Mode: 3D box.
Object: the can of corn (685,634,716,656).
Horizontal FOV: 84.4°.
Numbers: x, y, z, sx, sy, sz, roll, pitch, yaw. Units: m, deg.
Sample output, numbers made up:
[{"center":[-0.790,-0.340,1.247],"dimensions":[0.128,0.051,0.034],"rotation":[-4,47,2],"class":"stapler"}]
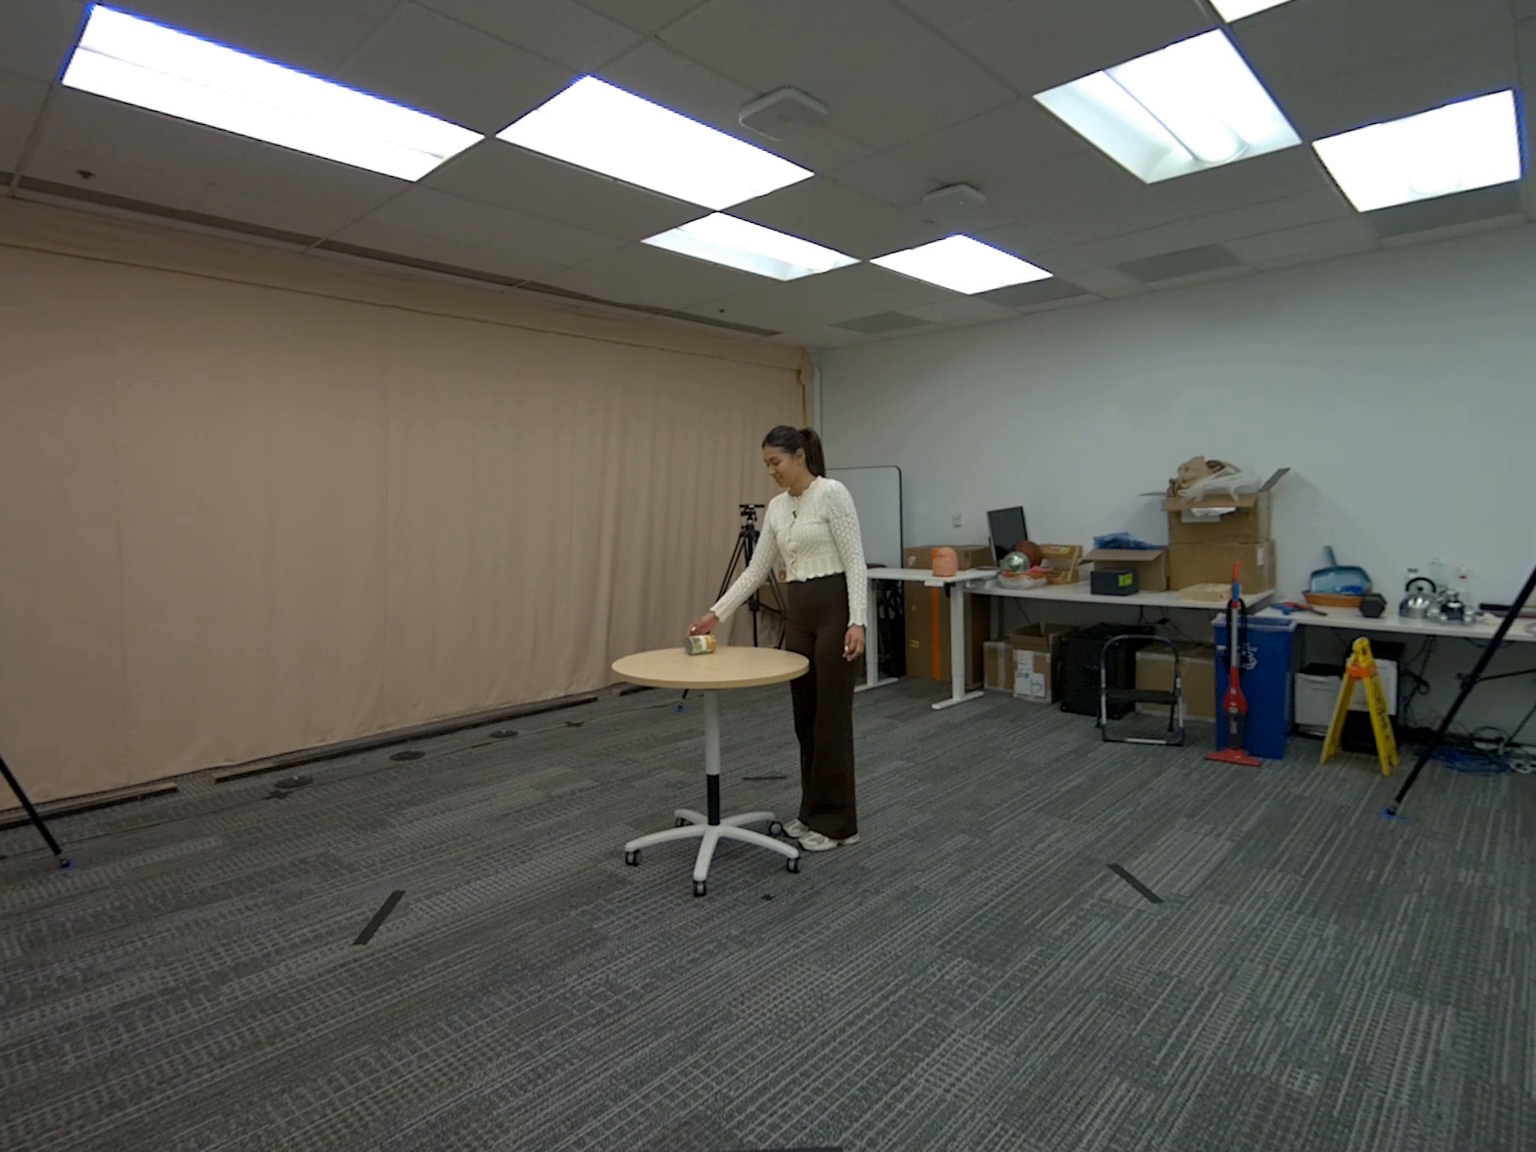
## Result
[{"center":[-0.273,0.284,3.492],"dimensions":[0.108,0.074,0.076],"rotation":[-3,4,-25],"class":"can of corn"}]
